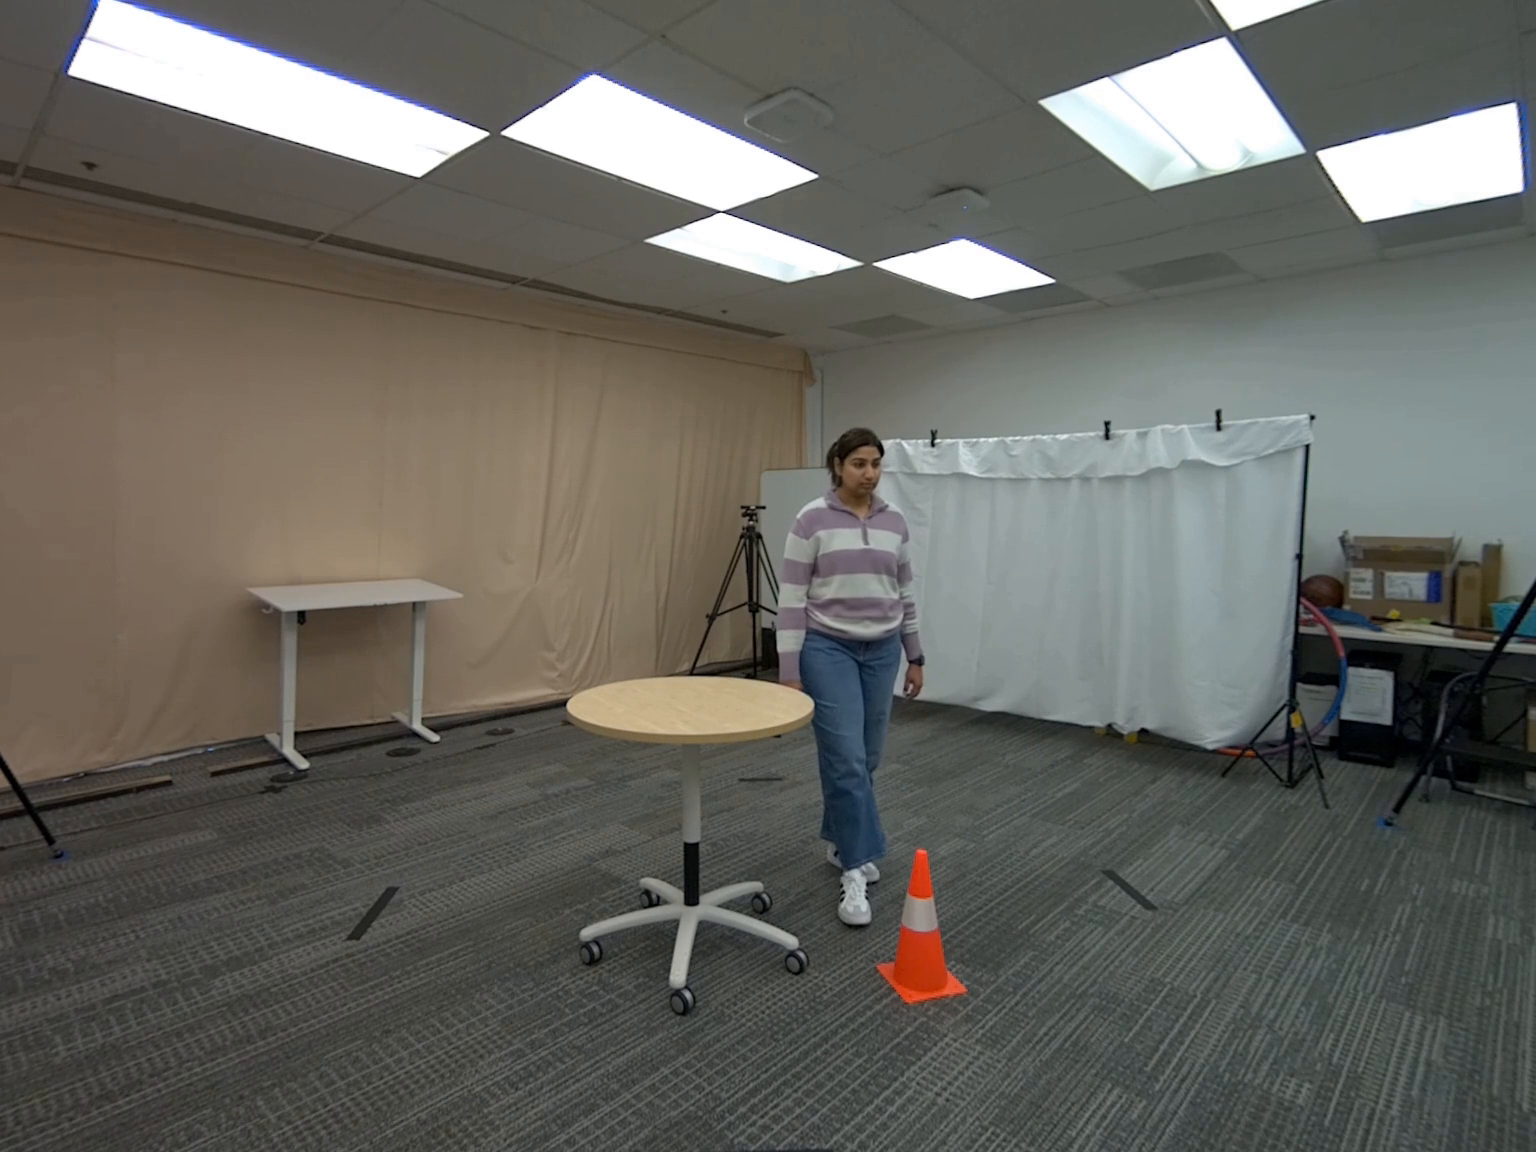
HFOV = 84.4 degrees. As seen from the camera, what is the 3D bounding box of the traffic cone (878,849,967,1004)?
[{"bbox_3d":[0.445,0.996,2.467,0.200,0.383,0.209,-3,4,-19],"label":"traffic cone"}]
